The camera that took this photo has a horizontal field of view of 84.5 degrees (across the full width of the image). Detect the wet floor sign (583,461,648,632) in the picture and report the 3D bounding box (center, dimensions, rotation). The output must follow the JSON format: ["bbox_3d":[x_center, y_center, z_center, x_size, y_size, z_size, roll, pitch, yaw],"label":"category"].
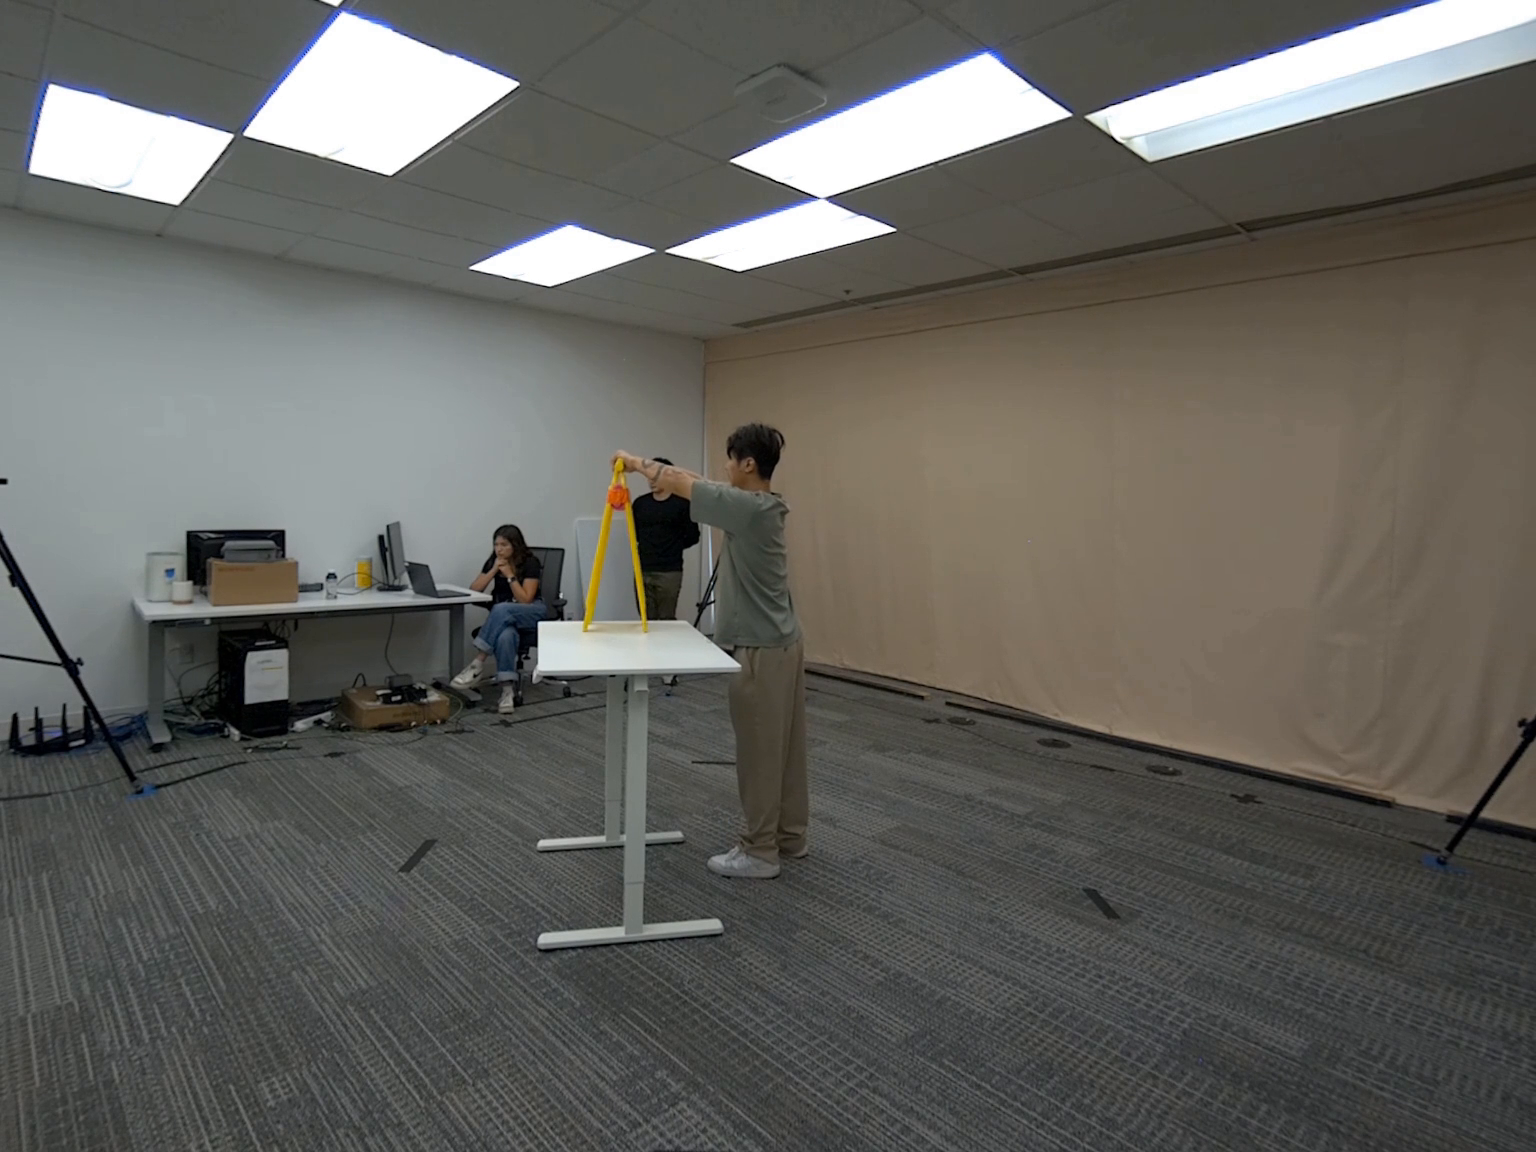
[{"bbox_3d":[-0.586,-0.131,3.276,0.288,0.644,0.284,1,3,-7],"label":"wet floor sign"}]
